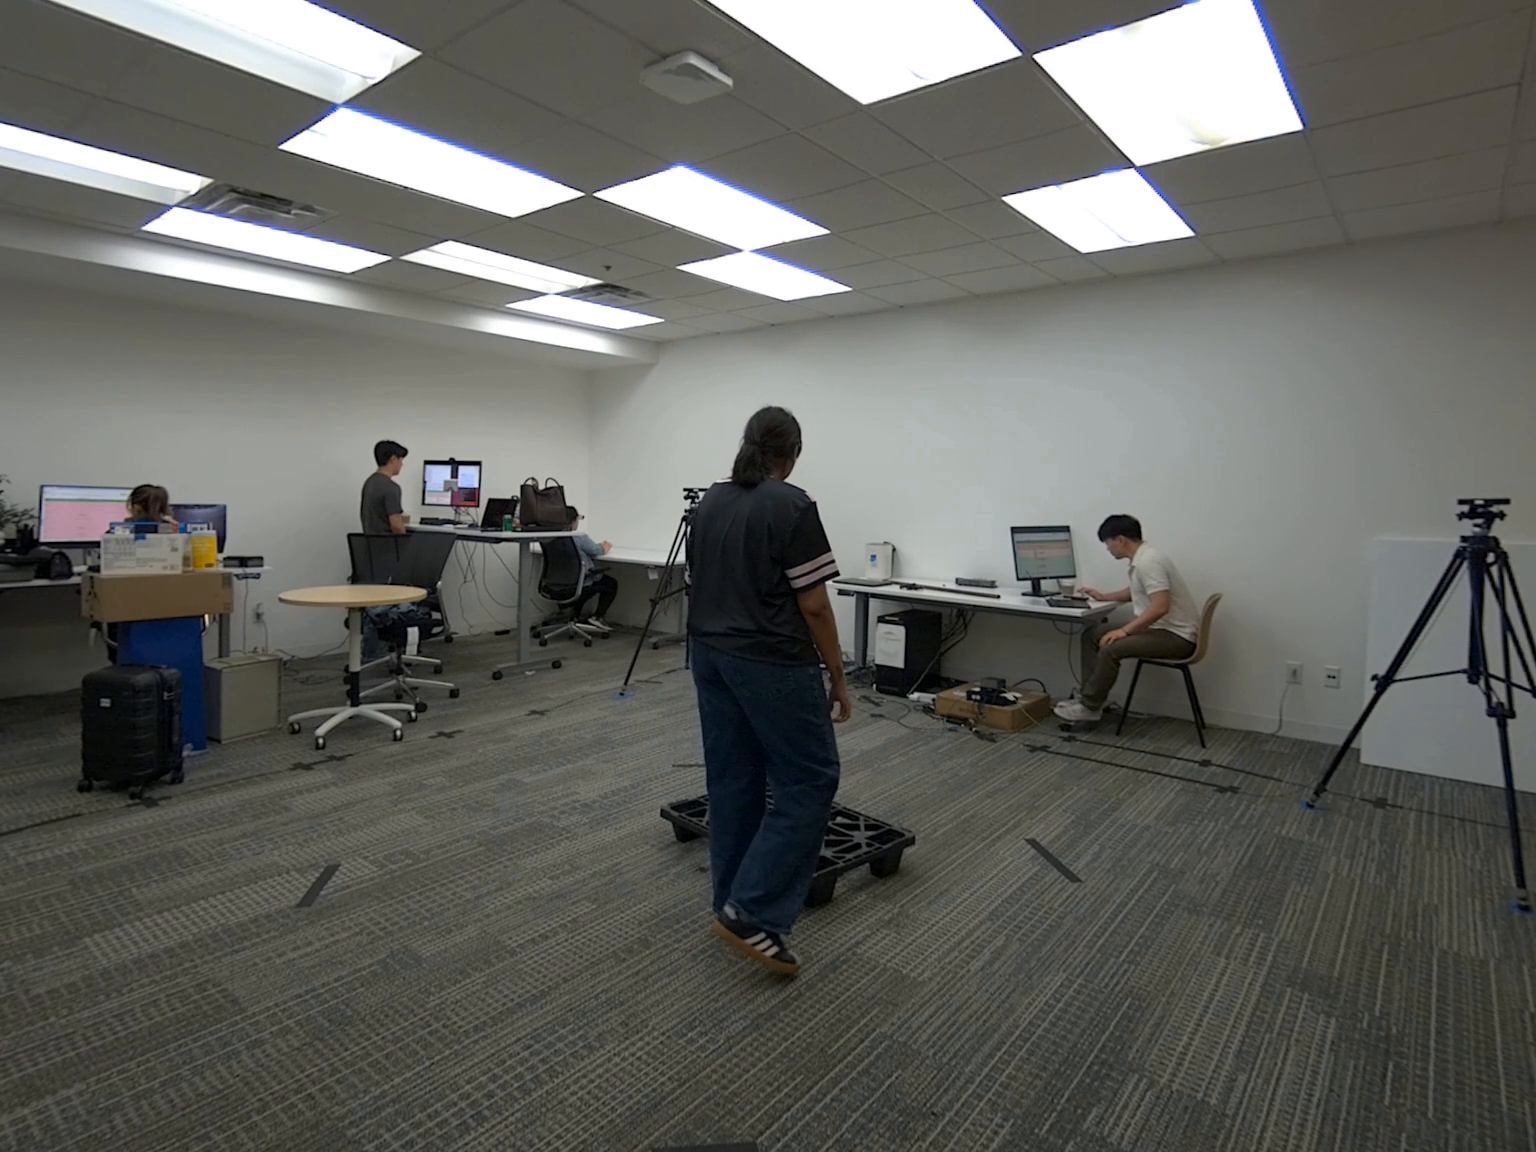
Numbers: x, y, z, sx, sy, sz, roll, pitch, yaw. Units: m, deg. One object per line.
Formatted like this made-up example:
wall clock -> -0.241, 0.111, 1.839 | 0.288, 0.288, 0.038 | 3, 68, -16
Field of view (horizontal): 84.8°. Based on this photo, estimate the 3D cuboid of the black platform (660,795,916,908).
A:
black platform -> 0.052, 0.995, 3.254 | 0.586, 0.143, 0.834 | -3, 7, -43
